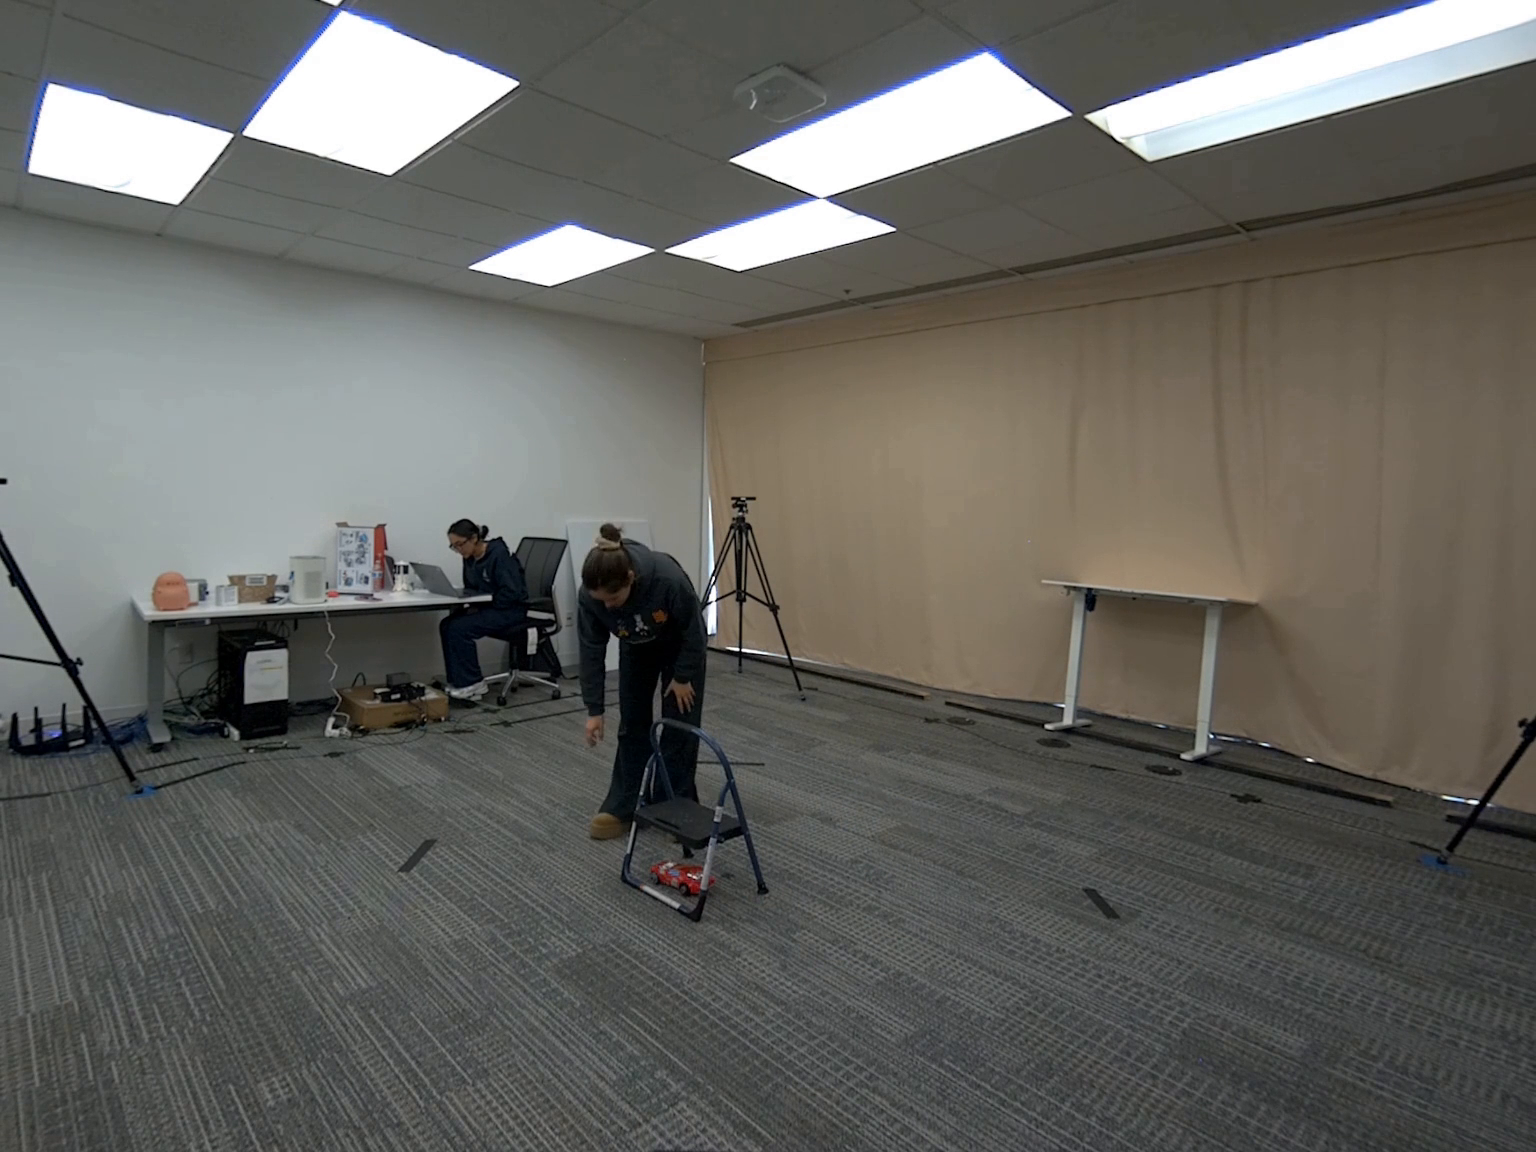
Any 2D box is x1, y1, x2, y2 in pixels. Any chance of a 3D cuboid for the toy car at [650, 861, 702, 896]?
[{"bbox_3d":[-0.305,1.079,3.014,0.259,0.083,0.127,-9,-3,37],"label":"toy car"}]
